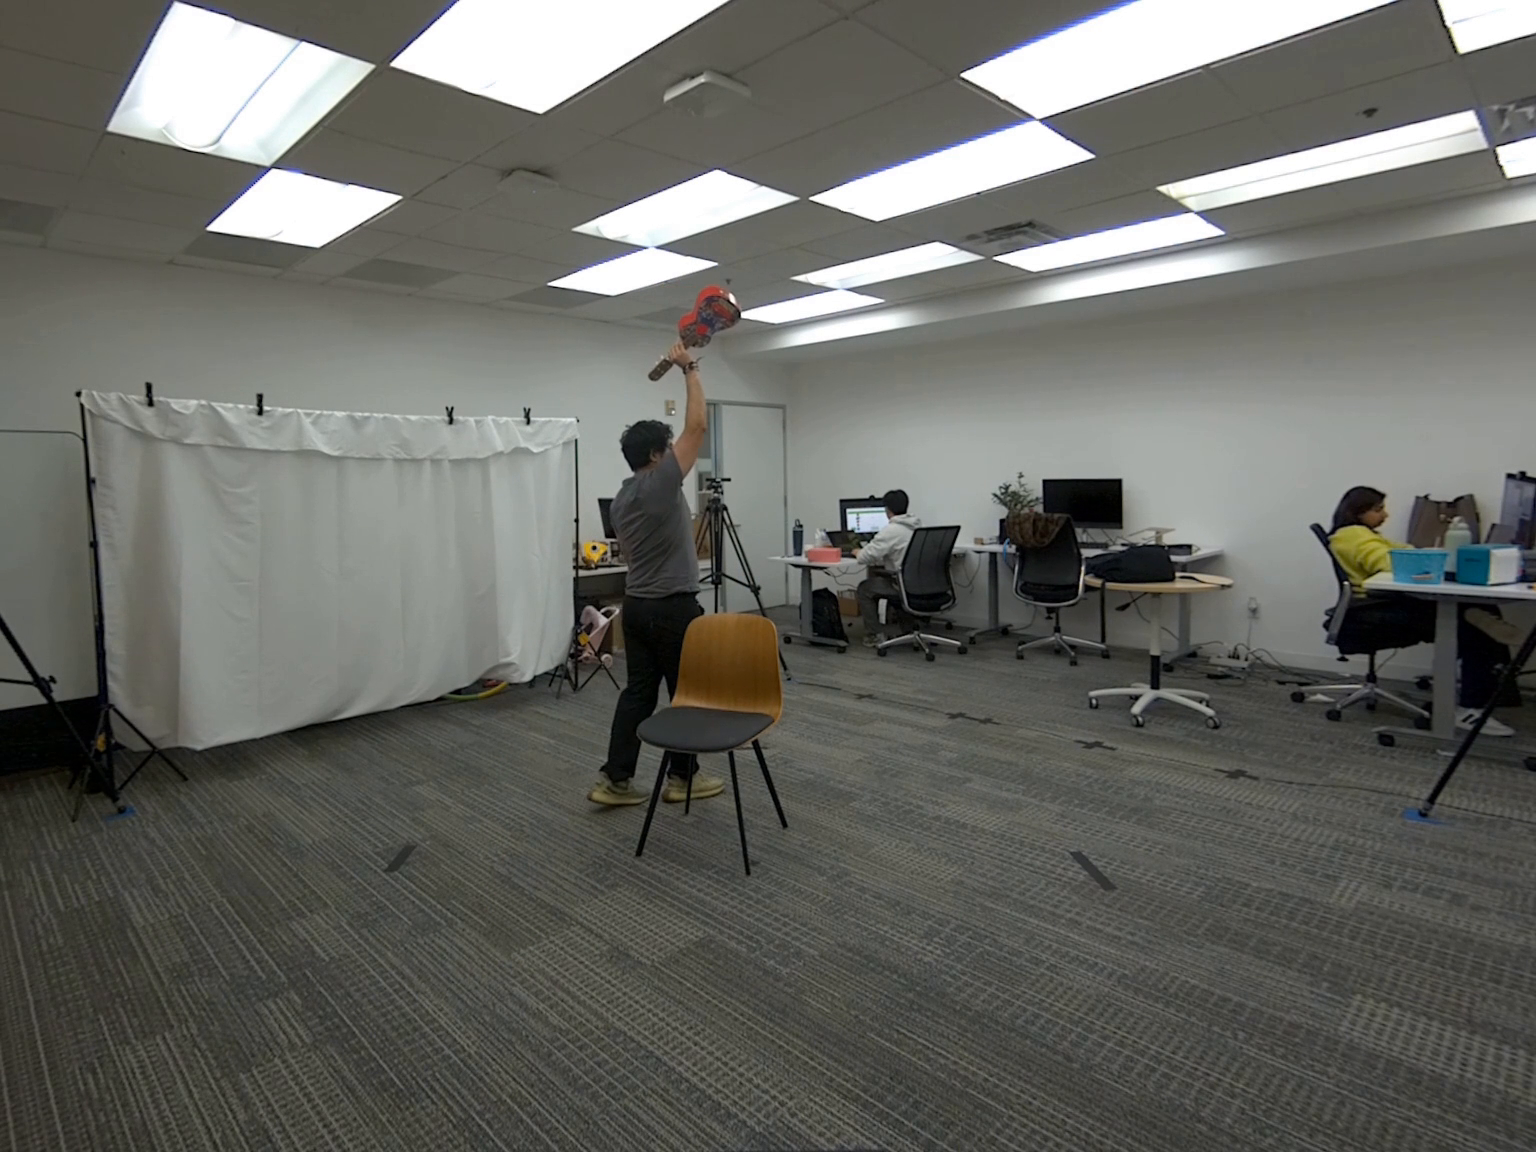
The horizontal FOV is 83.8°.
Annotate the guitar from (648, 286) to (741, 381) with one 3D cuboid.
[{"bbox_3d":[-0.342,-1.003,3.538,0.502,0.073,0.185,-30,-40,23],"label":"guitar"}]
